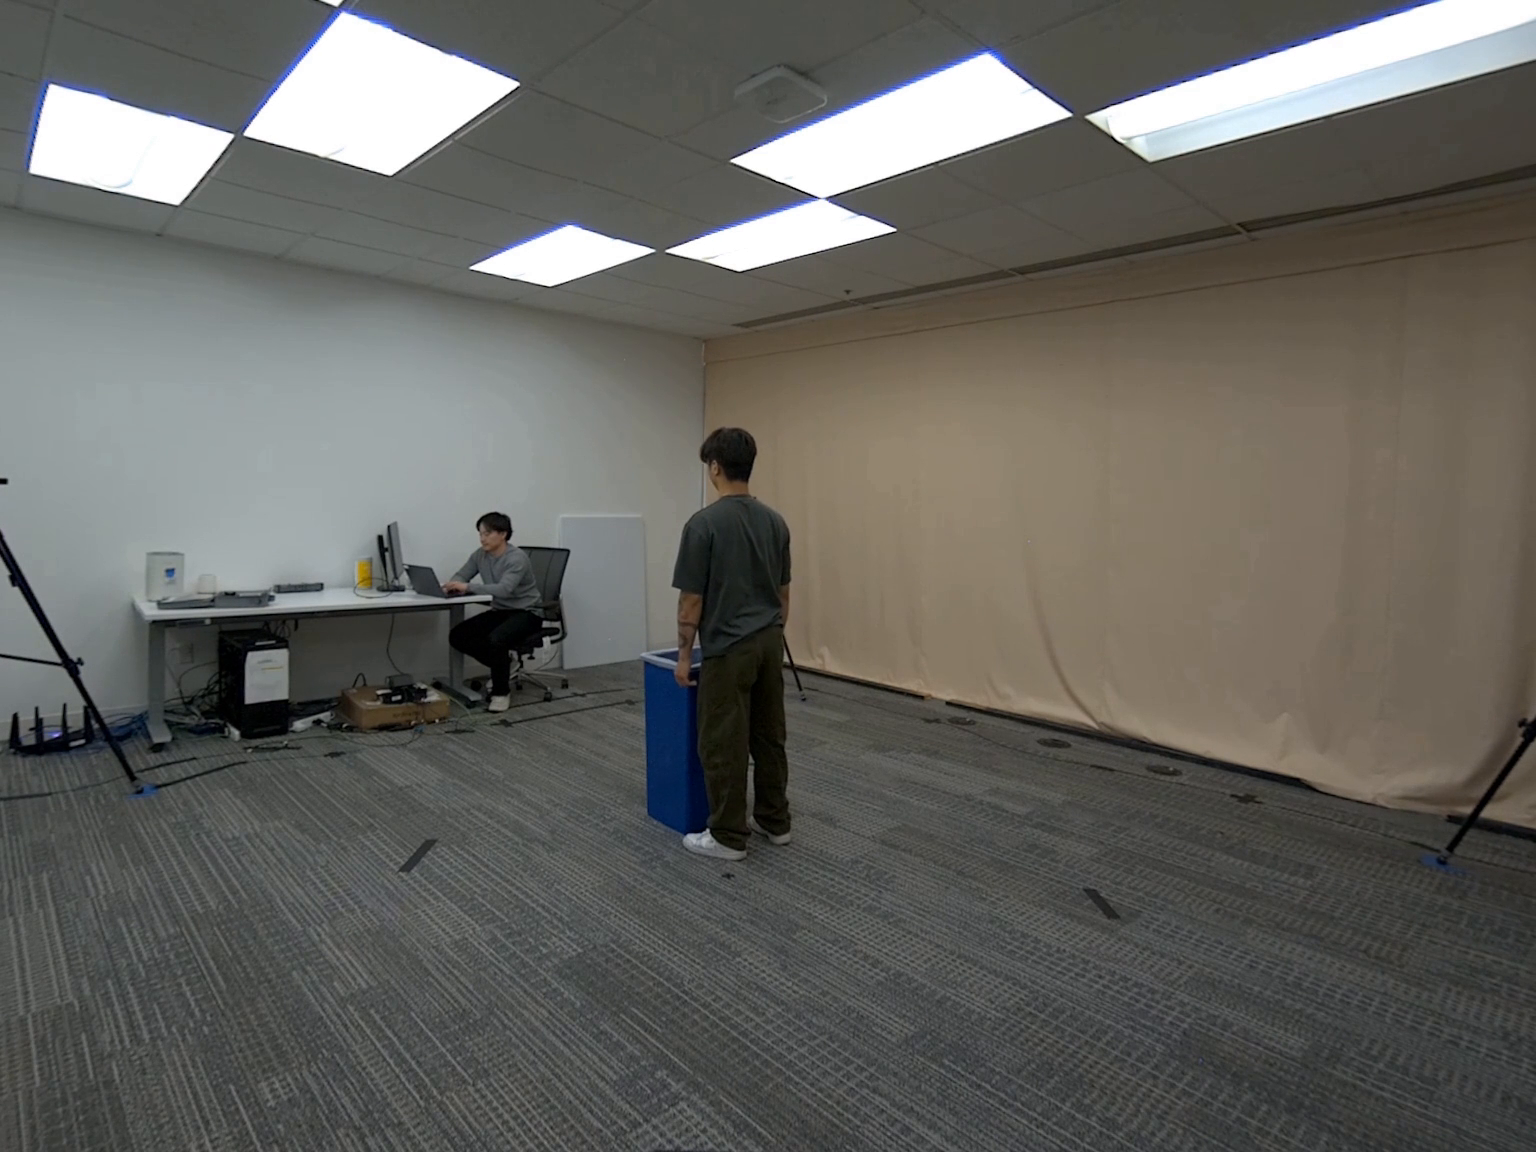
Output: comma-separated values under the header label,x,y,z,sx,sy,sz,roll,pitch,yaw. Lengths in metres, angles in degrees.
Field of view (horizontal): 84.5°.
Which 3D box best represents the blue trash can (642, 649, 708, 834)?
label,x,y,z,sx,sy,sz,roll,pitch,yaw
blue trash can,-0.328,0.697,3.652,0.365,0.712,0.387,-1,3,-41
